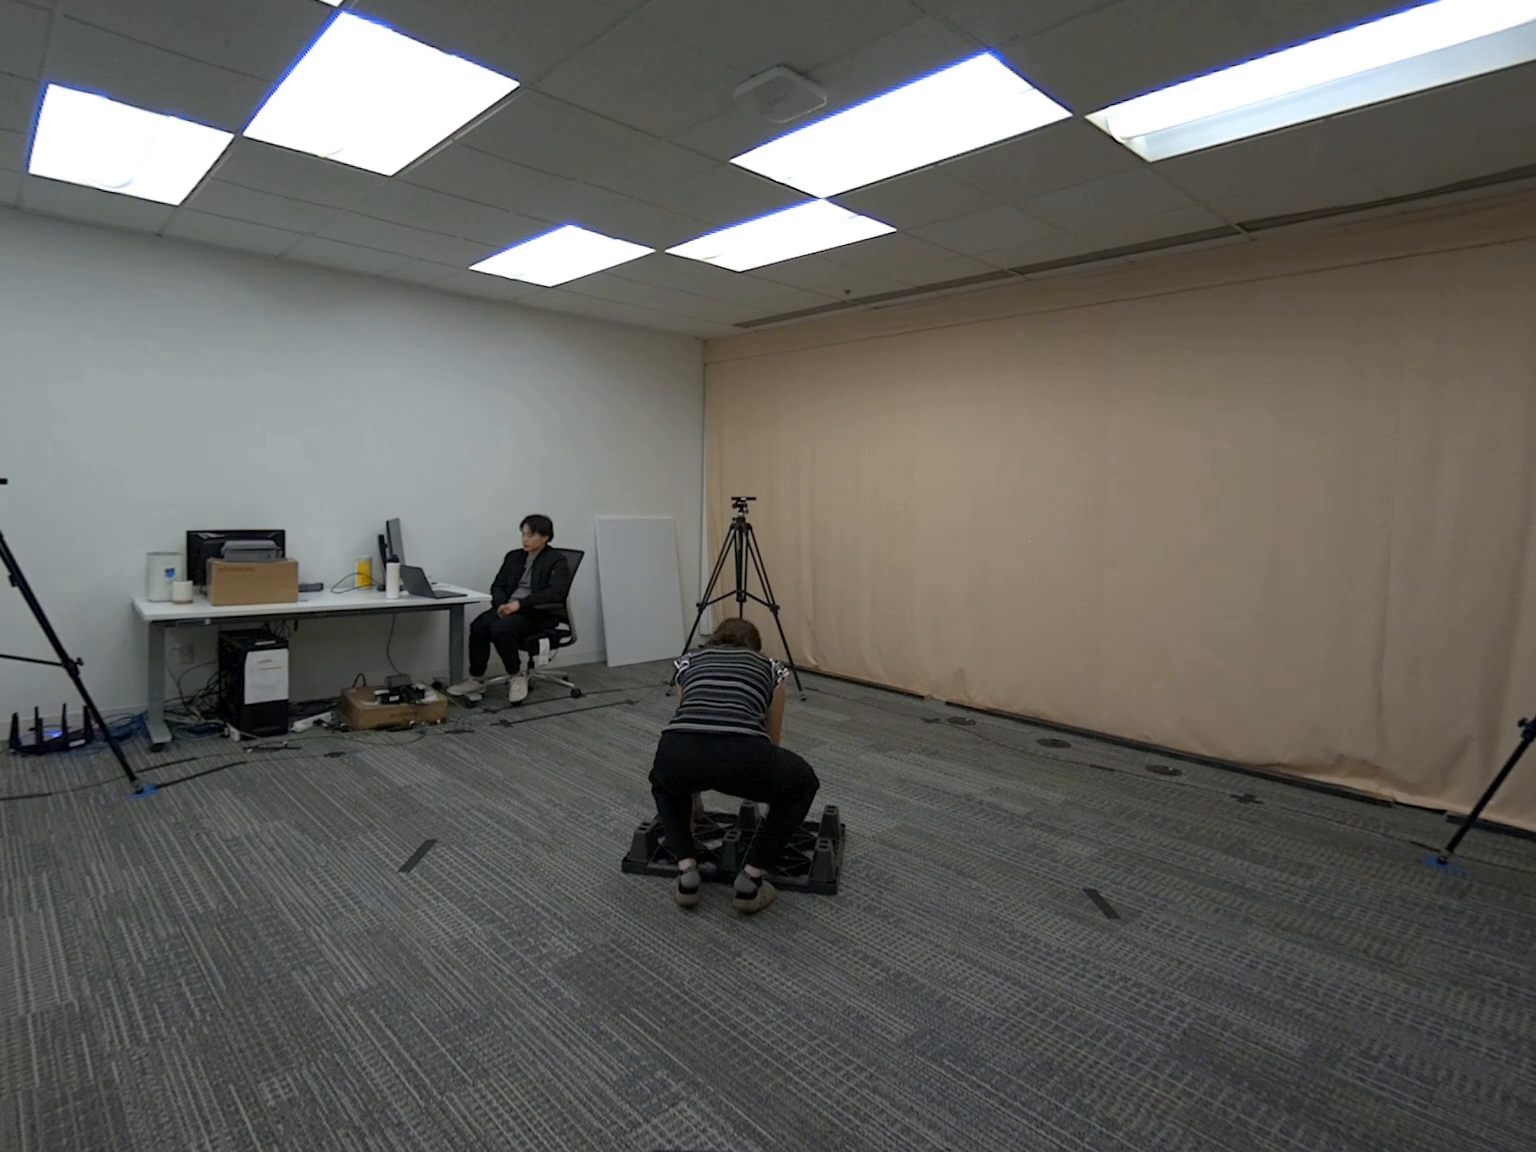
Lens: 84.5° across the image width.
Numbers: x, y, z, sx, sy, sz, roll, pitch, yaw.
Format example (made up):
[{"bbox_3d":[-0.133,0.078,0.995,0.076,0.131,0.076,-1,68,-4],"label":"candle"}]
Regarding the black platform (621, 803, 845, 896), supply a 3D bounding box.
[{"bbox_3d":[-0.111,1.018,3.326,0.812,0.143,0.602,2,6,10],"label":"black platform"}]
